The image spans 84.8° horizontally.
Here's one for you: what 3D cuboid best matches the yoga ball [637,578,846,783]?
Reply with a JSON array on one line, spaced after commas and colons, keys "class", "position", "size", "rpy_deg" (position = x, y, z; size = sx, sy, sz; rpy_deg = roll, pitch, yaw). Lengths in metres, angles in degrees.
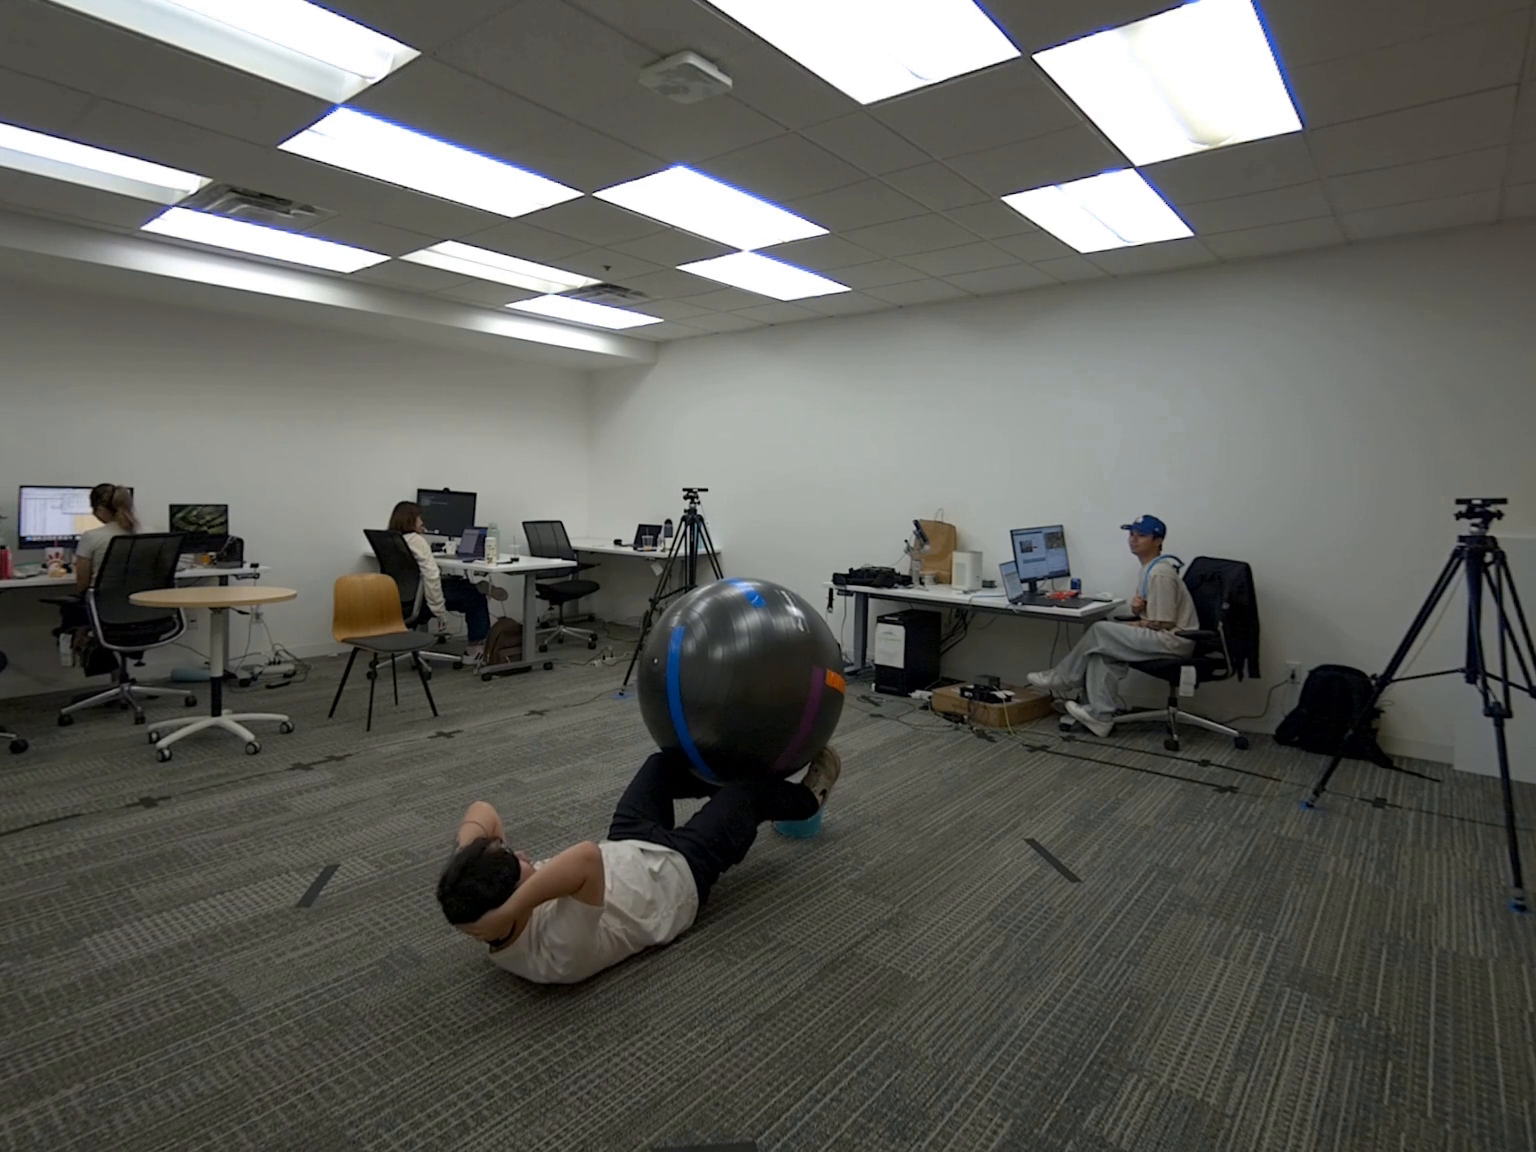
[{"class": "yoga ball", "position": [-0.107, 0.379, 3.117], "size": [0.757, 0.755, 0.762], "rpy_deg": [1, 4, -2]}]
